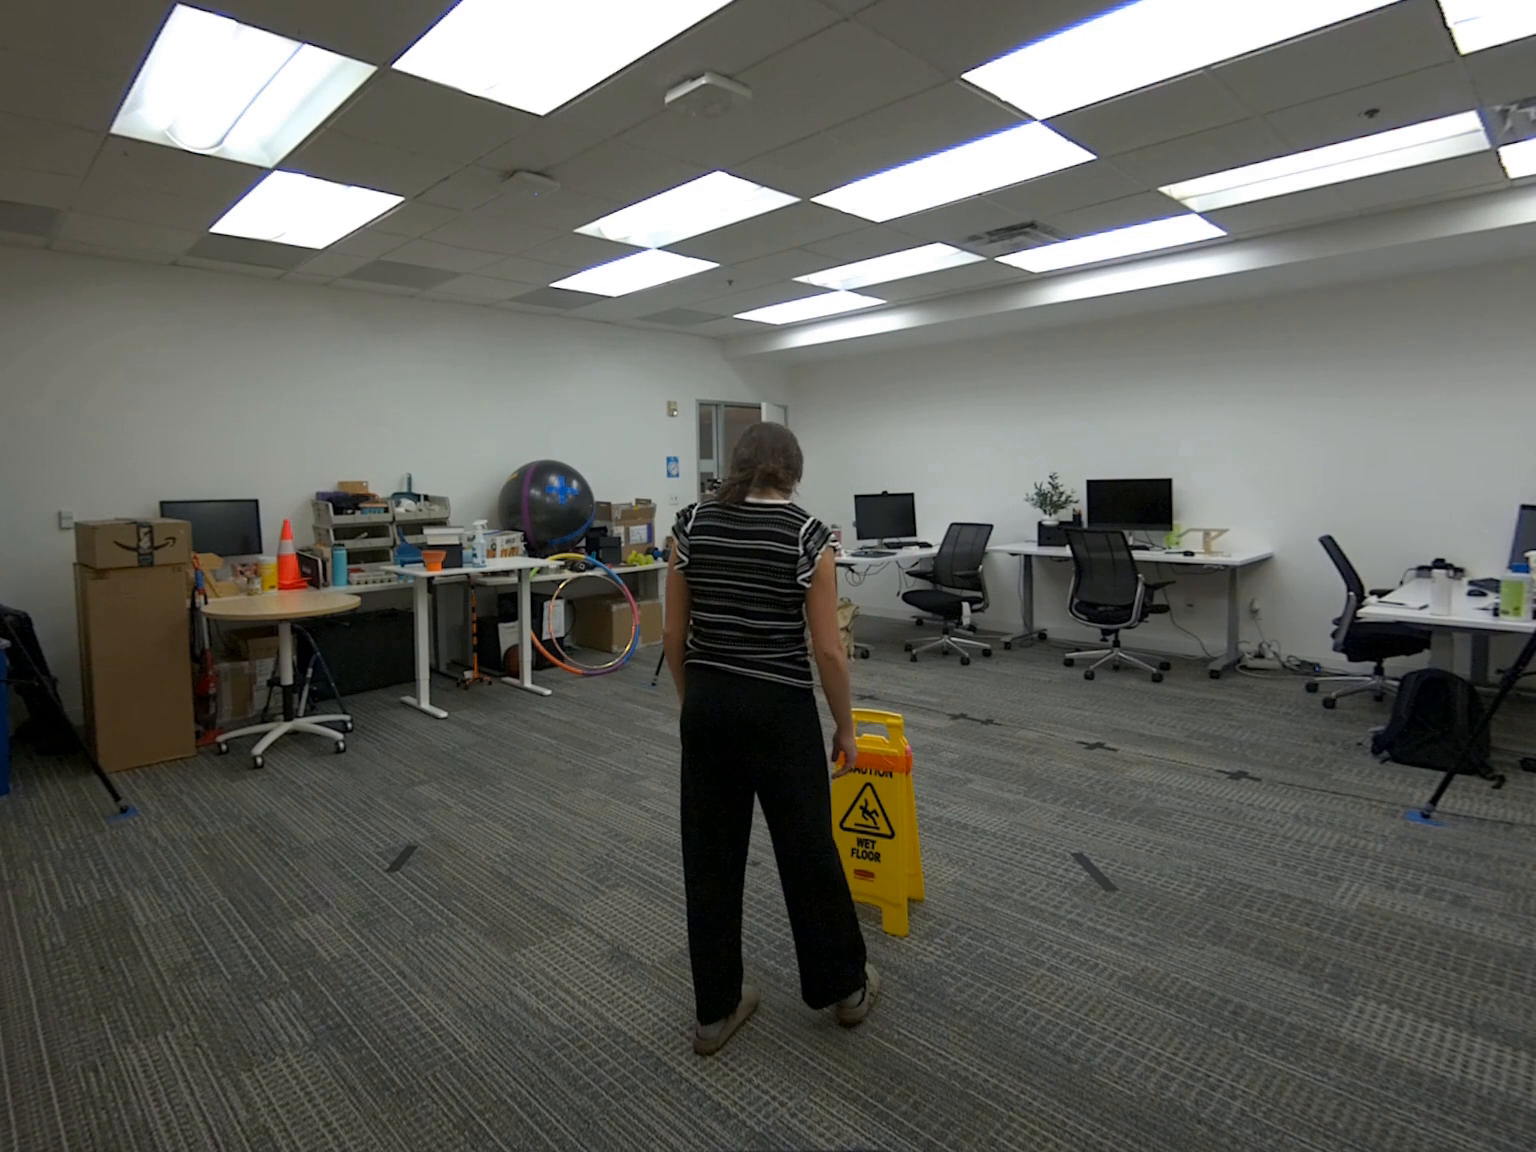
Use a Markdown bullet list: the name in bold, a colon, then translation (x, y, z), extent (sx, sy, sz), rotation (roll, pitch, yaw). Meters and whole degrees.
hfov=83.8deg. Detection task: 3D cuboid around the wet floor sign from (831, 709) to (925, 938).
- **wet floor sign**: translation (0.340, 0.758, 2.733), extent (0.288, 0.643, 0.285), rotation (0, 5, 23)
